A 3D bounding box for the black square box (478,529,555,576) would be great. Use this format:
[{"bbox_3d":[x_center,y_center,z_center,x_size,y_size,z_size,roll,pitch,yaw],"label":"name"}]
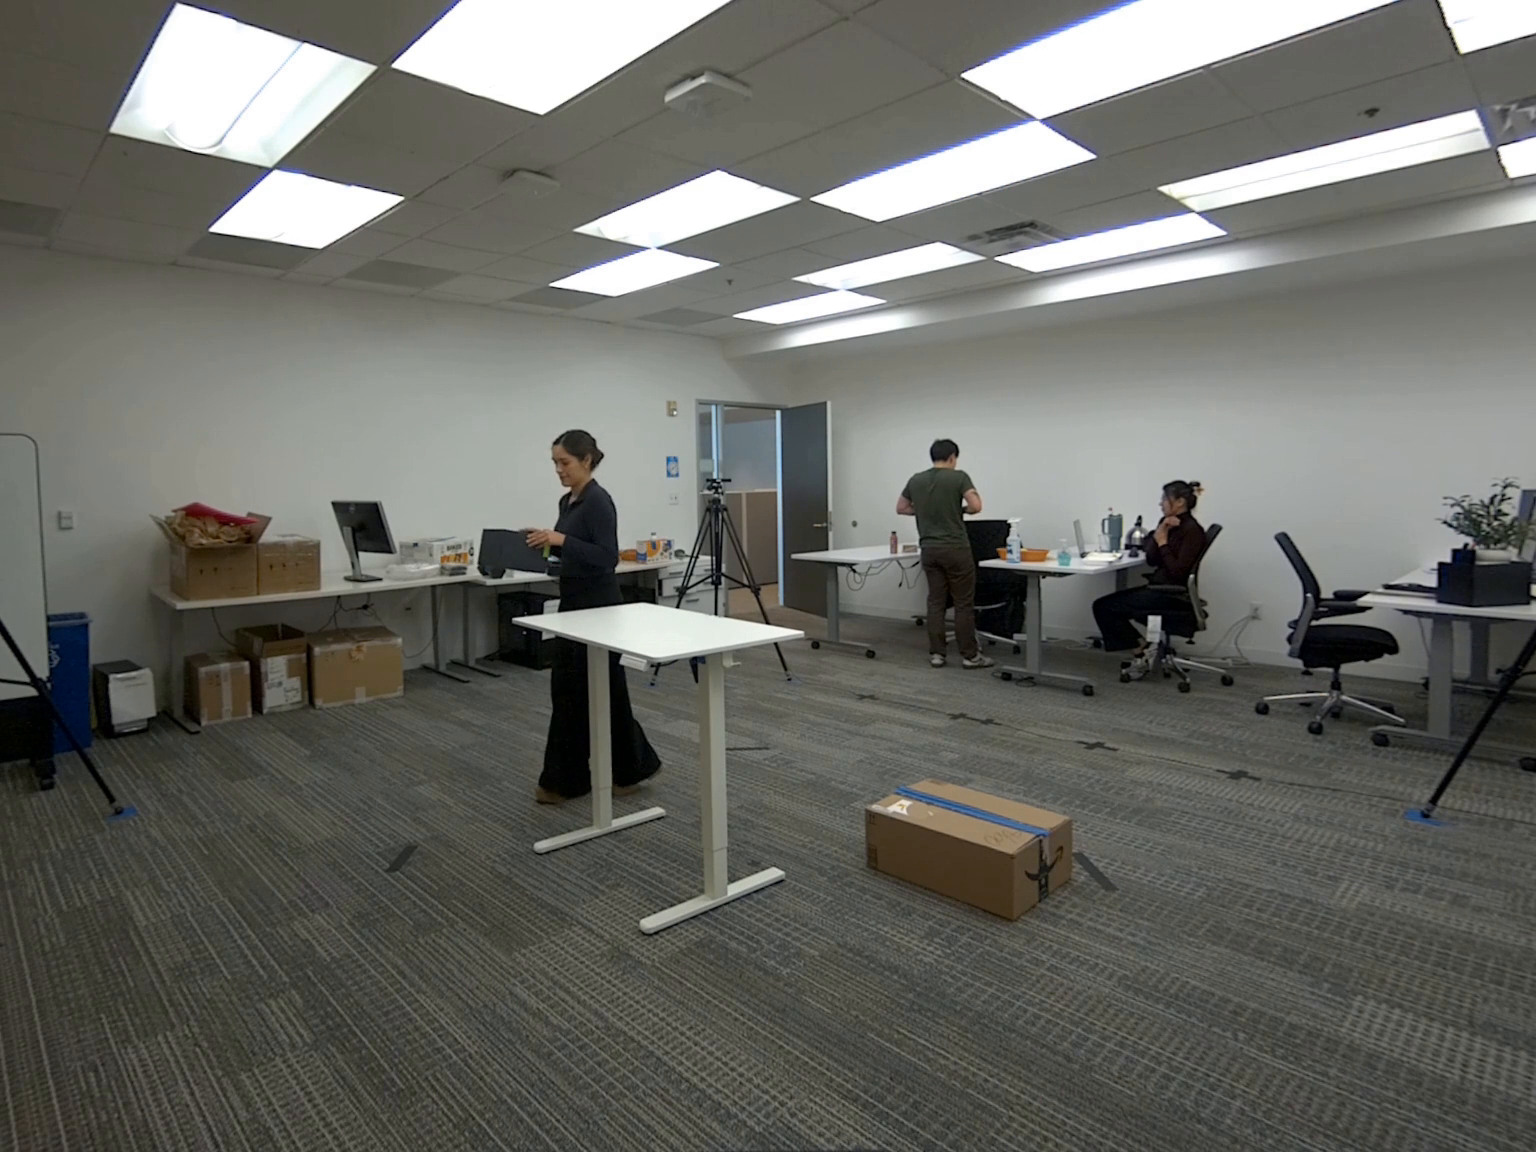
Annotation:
[{"bbox_3d":[-1.064,-0.108,3.614,0.213,0.156,0.232,7,-1,-19],"label":"black square box"}]
